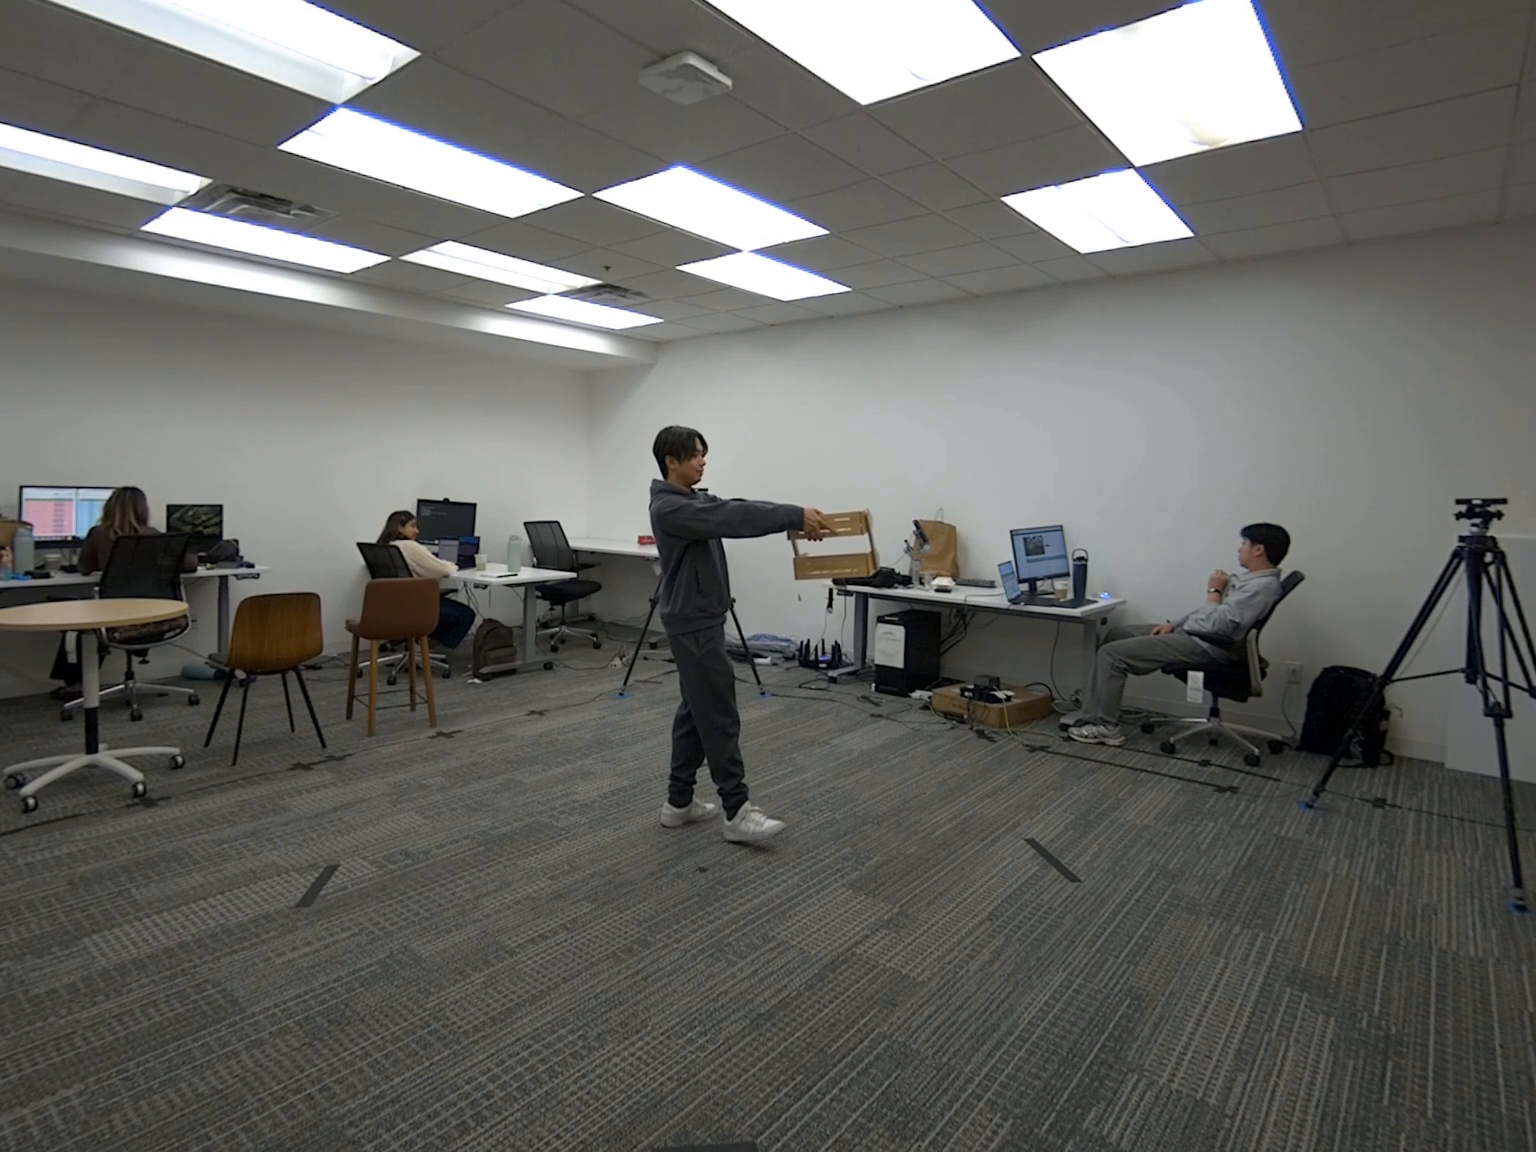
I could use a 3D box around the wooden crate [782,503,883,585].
[{"bbox_3d":[0.262,-0.135,3.412,0.331,0.272,0.298,-4,7,20],"label":"wooden crate"}]
